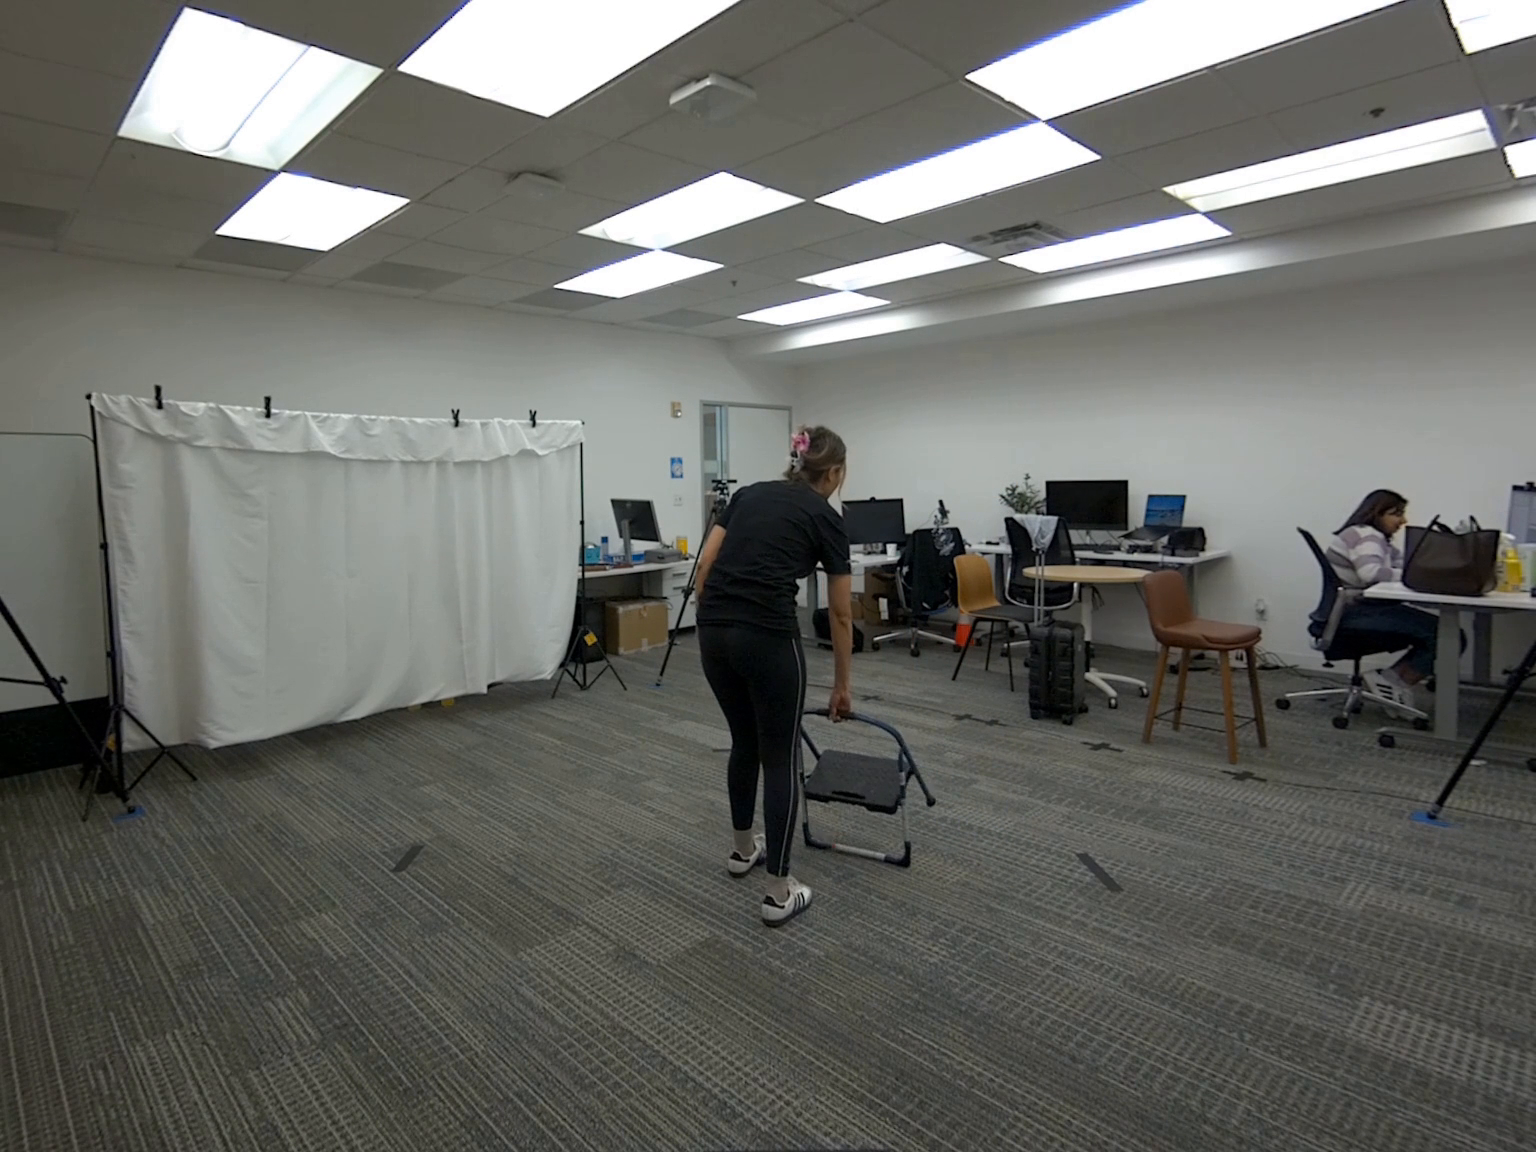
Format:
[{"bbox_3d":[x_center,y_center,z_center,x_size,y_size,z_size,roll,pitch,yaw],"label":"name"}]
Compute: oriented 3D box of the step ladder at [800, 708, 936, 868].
[{"bbox_3d":[0.335,0.696,3.166,0.441,0.590,0.349,2,30,29],"label":"step ladder"}]
